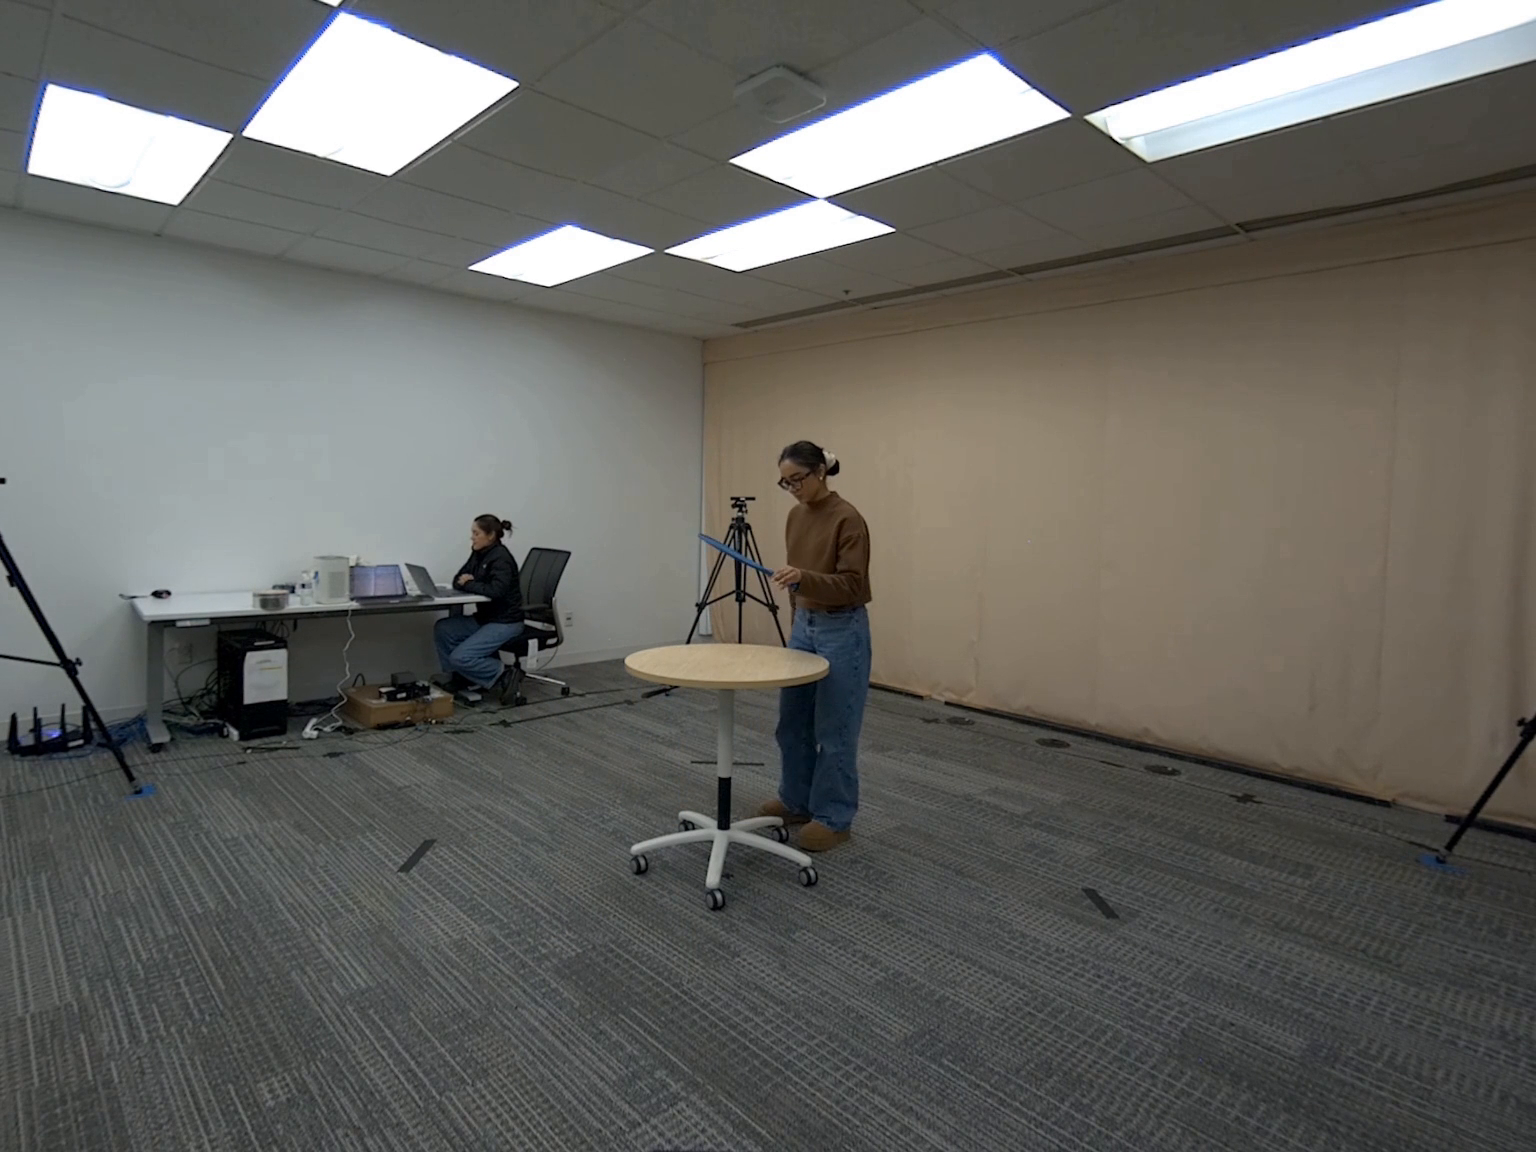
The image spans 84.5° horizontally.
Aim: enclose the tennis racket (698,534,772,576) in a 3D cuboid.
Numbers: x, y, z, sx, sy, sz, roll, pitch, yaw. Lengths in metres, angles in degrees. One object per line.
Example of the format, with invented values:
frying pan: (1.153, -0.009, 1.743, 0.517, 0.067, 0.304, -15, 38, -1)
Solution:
tennis racket: (-0.078, -0.043, 3.073, 0.420, 0.032, 0.220, 28, 15, -34)
